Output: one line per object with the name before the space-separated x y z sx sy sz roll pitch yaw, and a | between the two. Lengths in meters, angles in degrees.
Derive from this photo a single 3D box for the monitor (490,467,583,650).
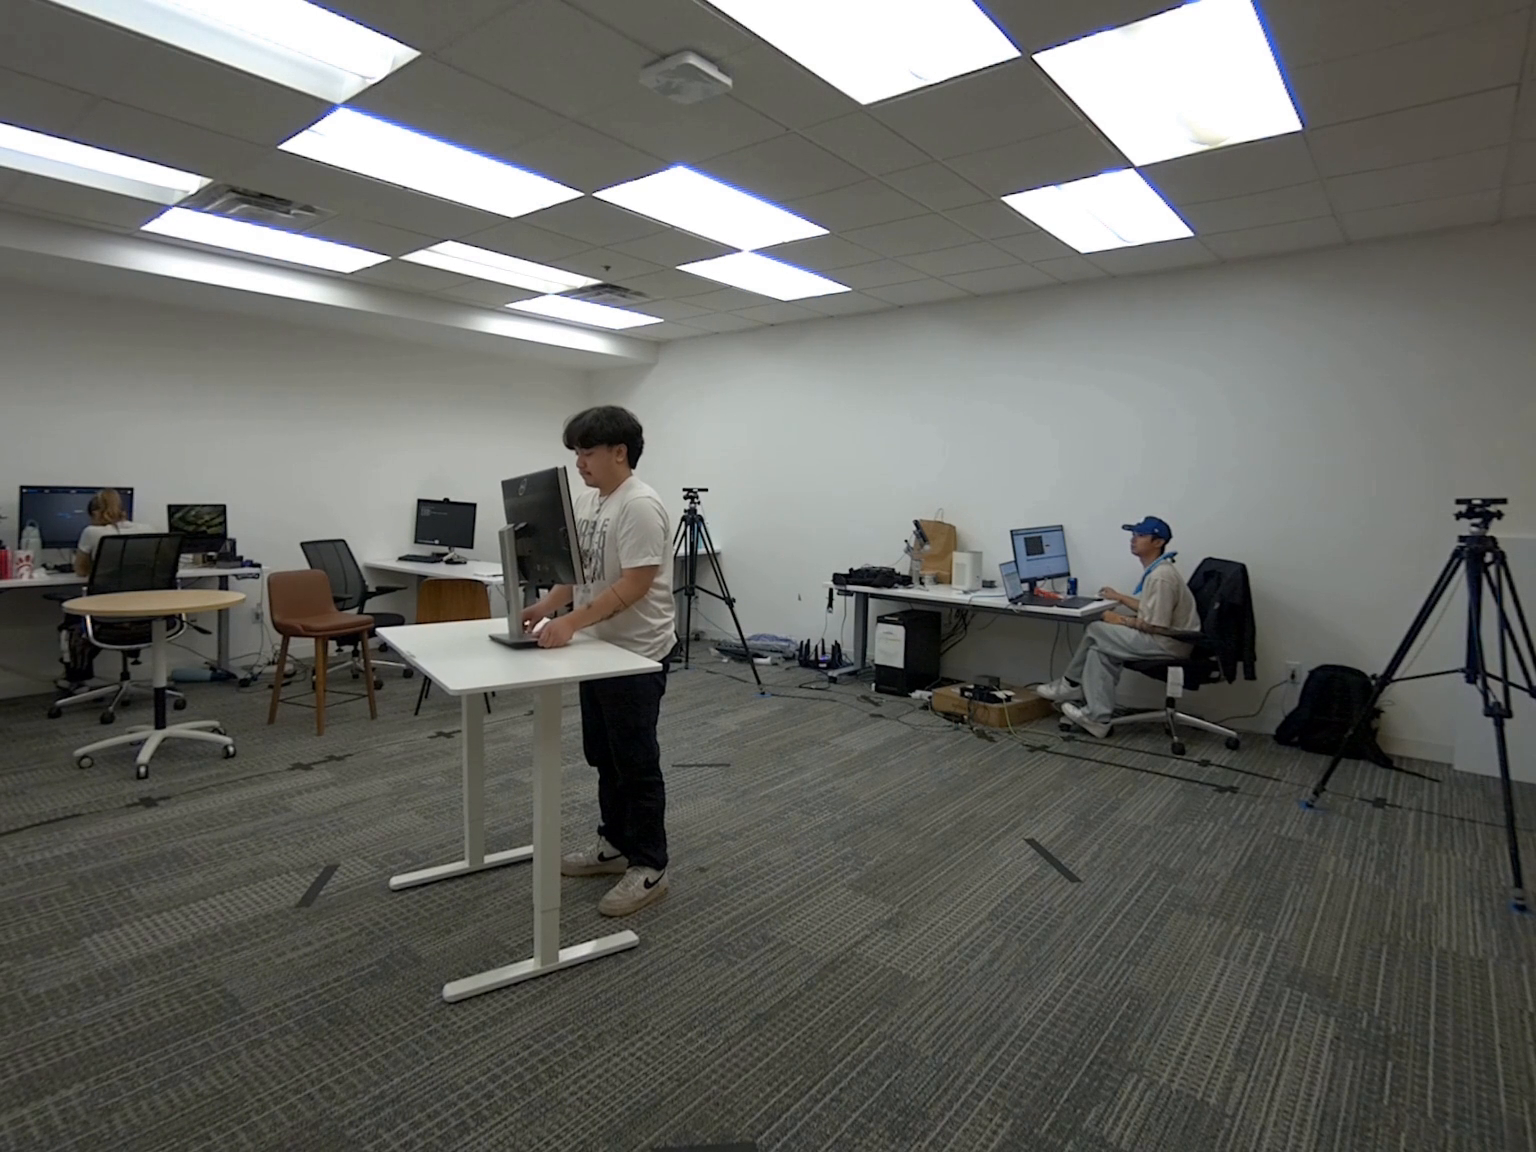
monitor | -0.804 -0.061 2.739 0.204 0.552 0.582 -6 4 -34
